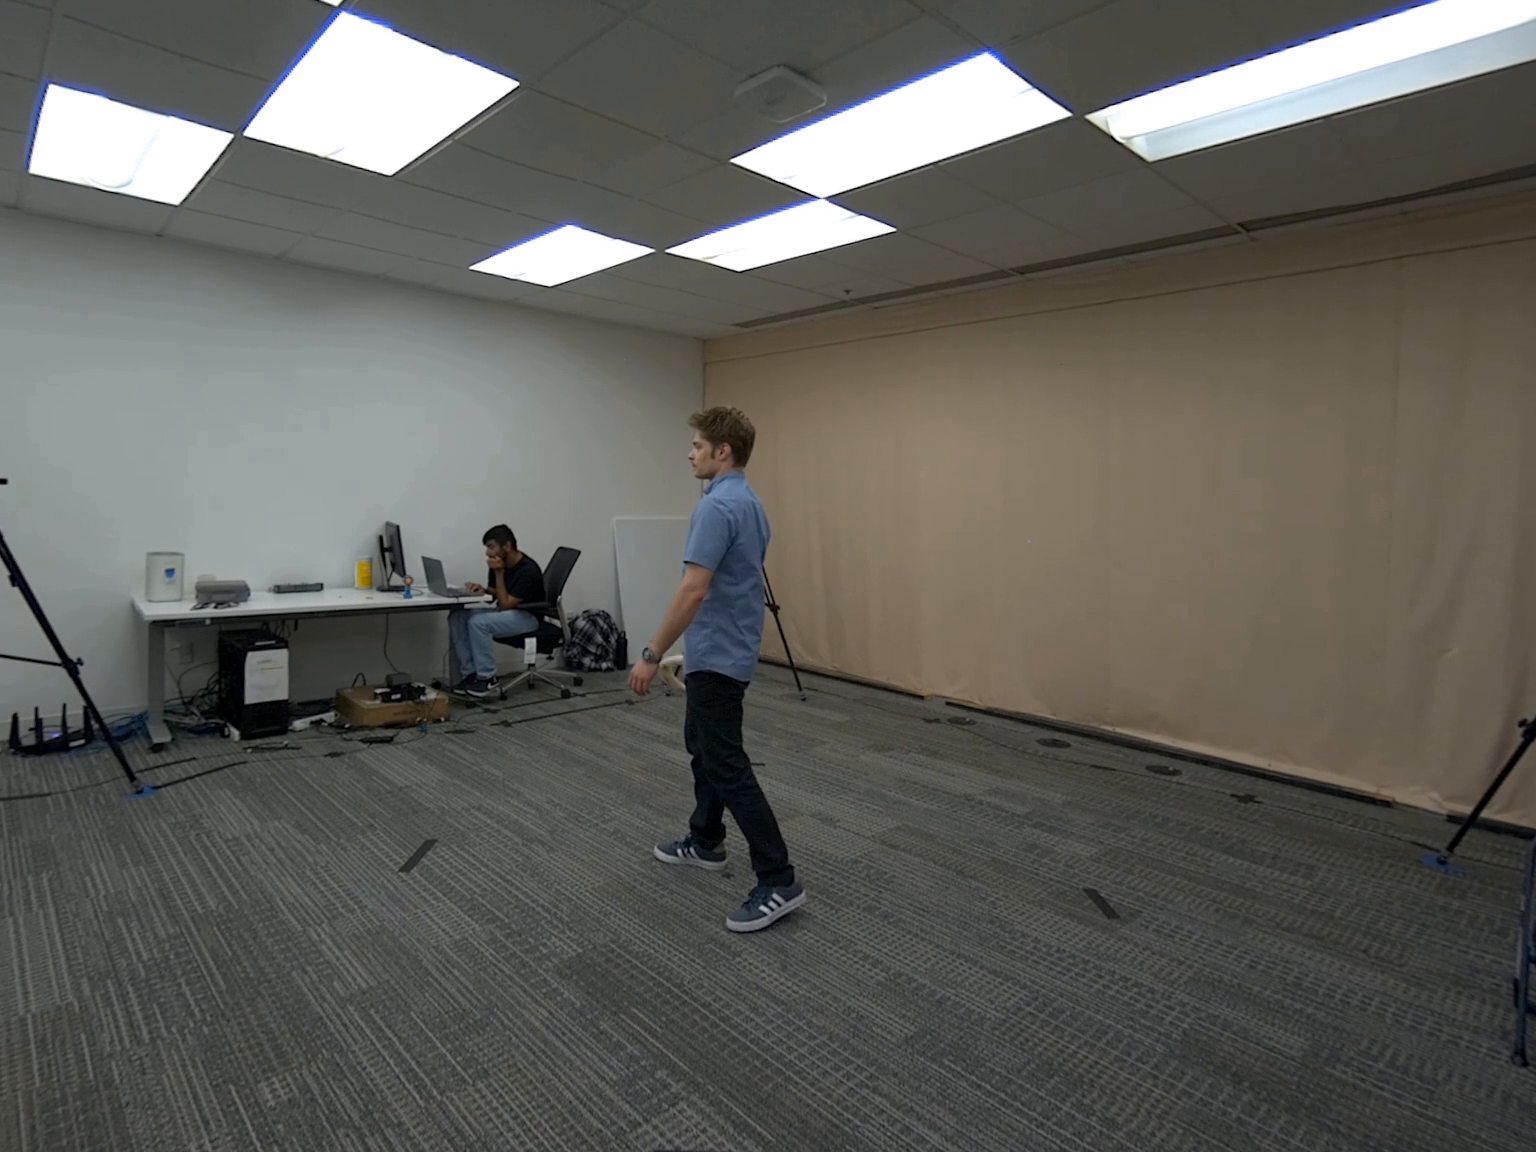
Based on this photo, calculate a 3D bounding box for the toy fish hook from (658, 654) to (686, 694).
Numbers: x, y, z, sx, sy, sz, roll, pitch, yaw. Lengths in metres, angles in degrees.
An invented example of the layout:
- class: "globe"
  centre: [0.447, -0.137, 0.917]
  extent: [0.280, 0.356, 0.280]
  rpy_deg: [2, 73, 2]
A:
- class: "toy fish hook"
  centre: [-0.294, 0.367, 3.504]
  extent: [0.220, 0.049, 0.511]
  rpy_deg: [41, -40, -18]
